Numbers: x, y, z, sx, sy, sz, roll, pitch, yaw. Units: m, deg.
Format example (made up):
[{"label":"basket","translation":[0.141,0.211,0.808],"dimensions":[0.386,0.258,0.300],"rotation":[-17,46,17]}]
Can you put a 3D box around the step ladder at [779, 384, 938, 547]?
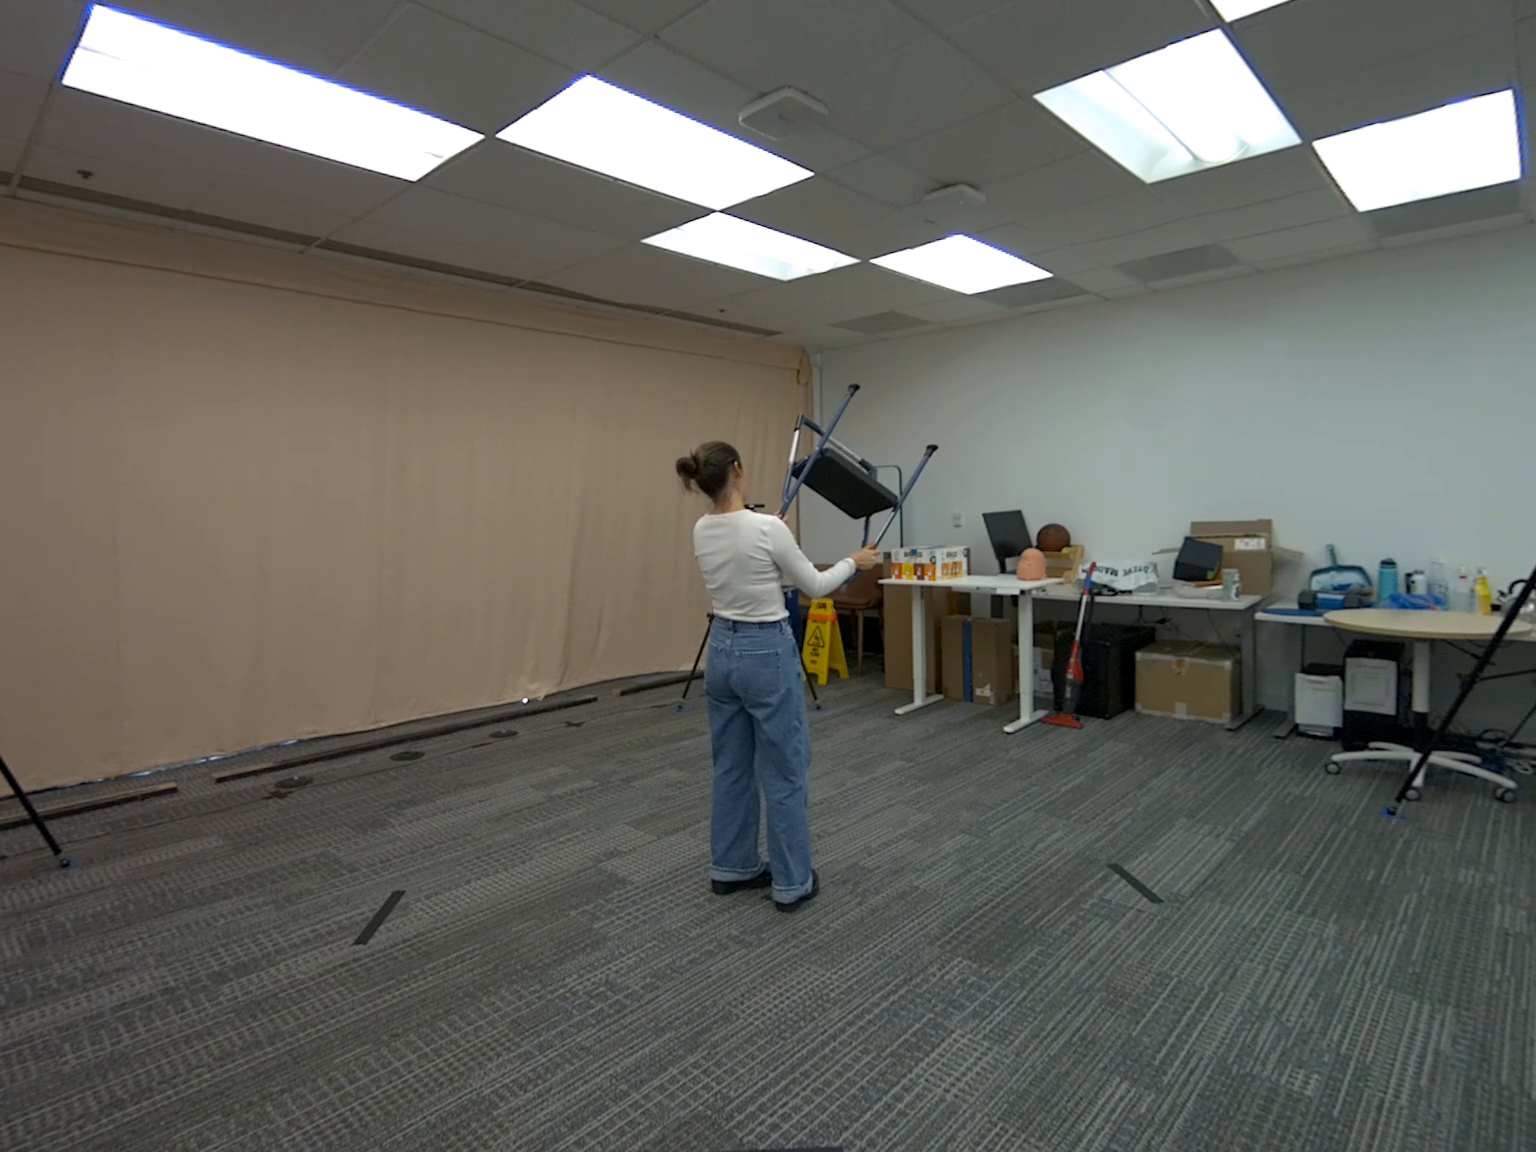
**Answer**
[{"label":"step ladder","translation":[0.277,-0.289,3.051],"dimensions":[0.420,0.608,0.357],"rotation":[32,-25,-23]}]
